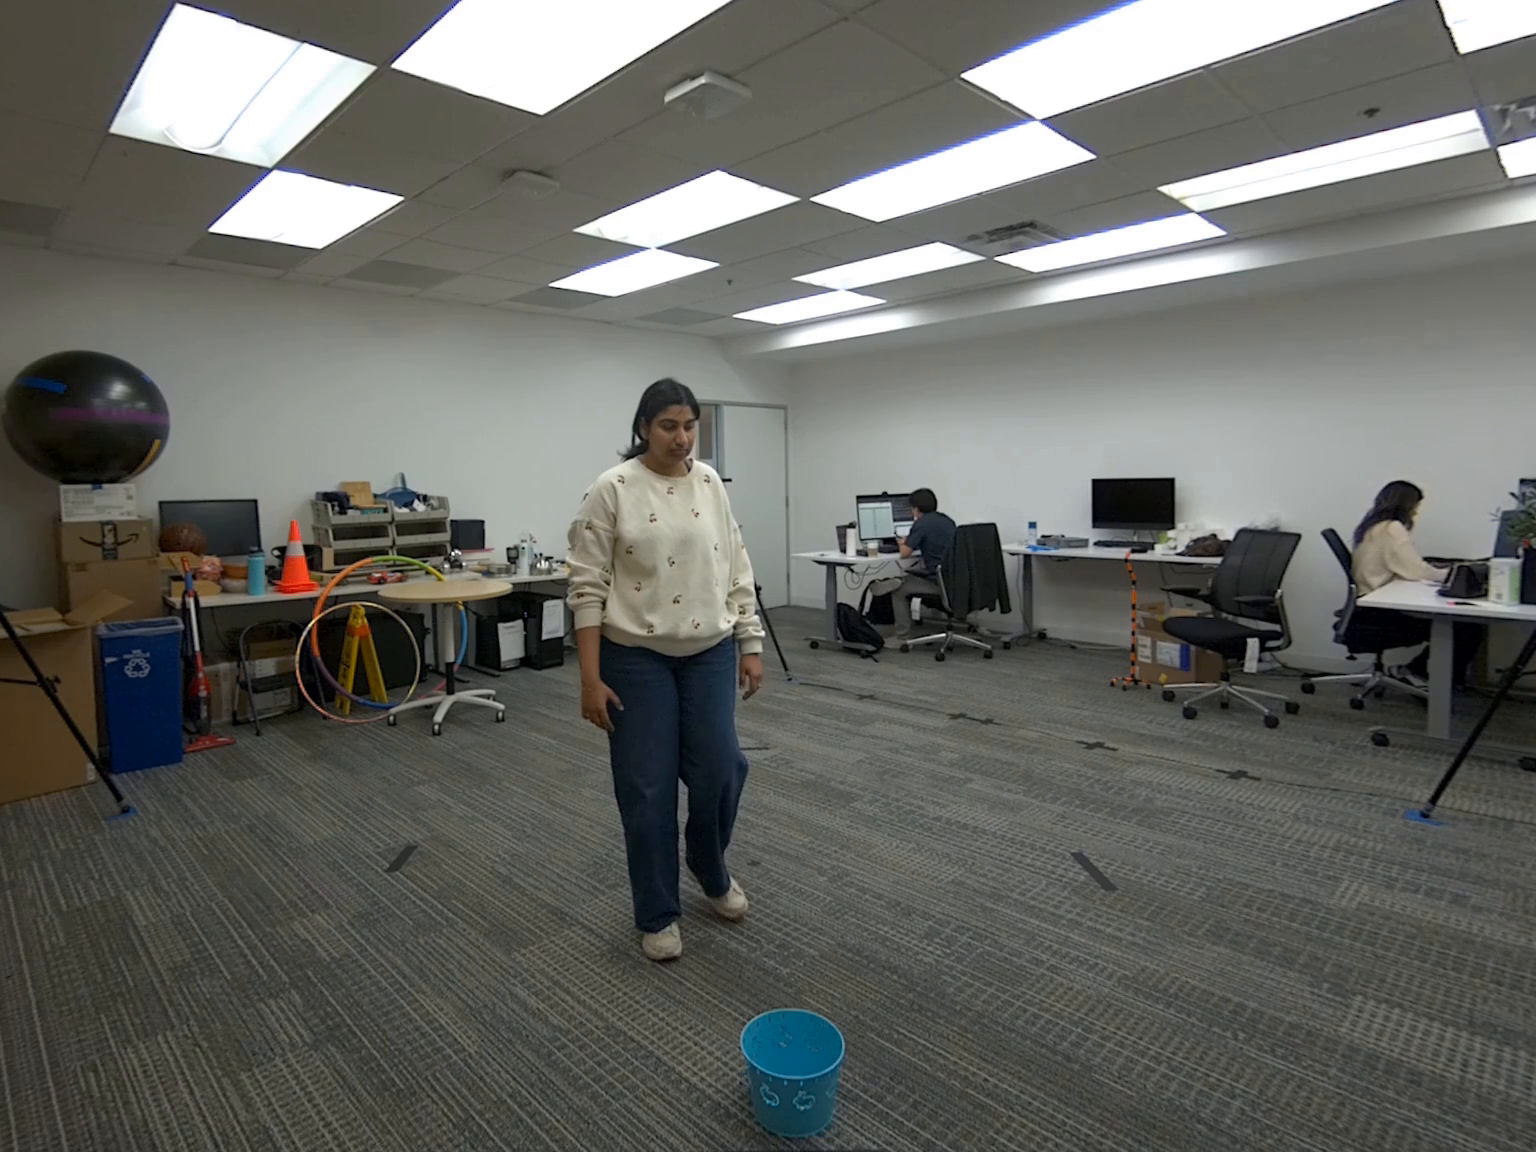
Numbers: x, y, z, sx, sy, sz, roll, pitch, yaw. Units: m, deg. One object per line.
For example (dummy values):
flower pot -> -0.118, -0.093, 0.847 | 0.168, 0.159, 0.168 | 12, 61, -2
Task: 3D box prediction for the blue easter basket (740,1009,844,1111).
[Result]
blue easter basket -> 0.066, 1.105, 1.905 | 0.243, 0.155, 0.245 | -1, 6, -2
